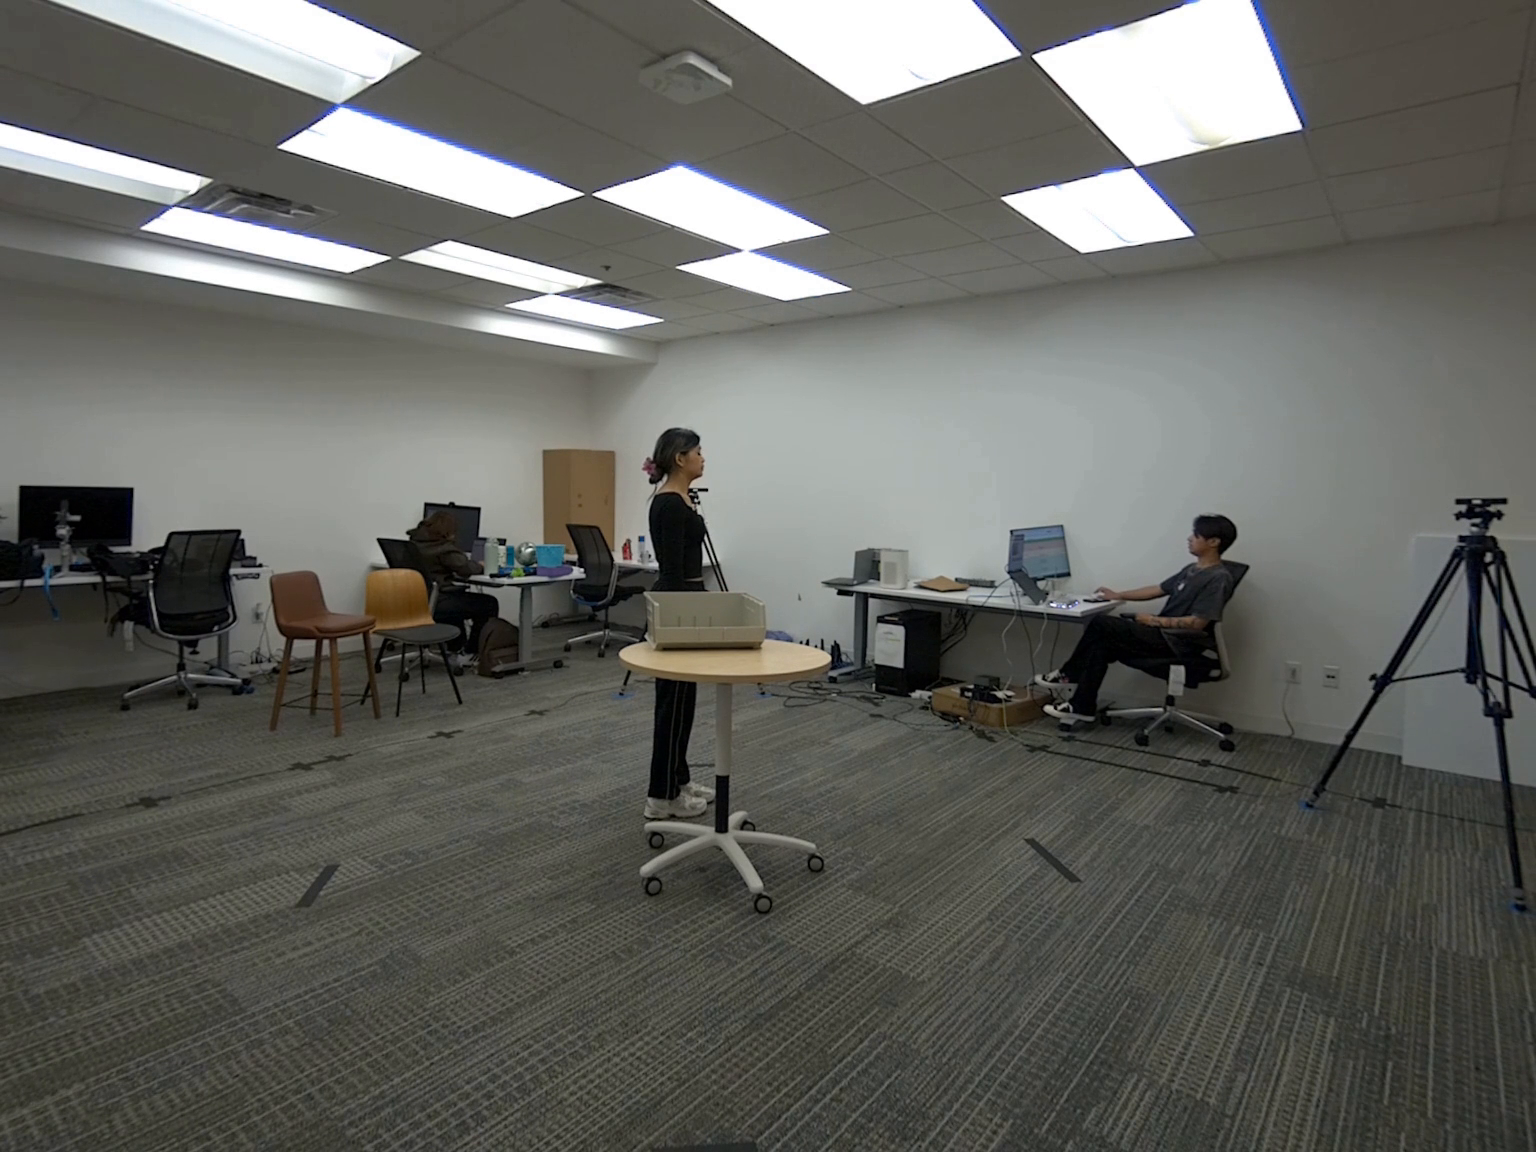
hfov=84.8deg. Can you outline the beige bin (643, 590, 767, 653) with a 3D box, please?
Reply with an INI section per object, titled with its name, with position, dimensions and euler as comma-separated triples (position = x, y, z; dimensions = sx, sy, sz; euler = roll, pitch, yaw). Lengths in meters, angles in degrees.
[beige bin]
position = -0.259, 0.169, 3.297
dimensions = 0.417, 0.188, 0.383
euler = 0, 4, -12
